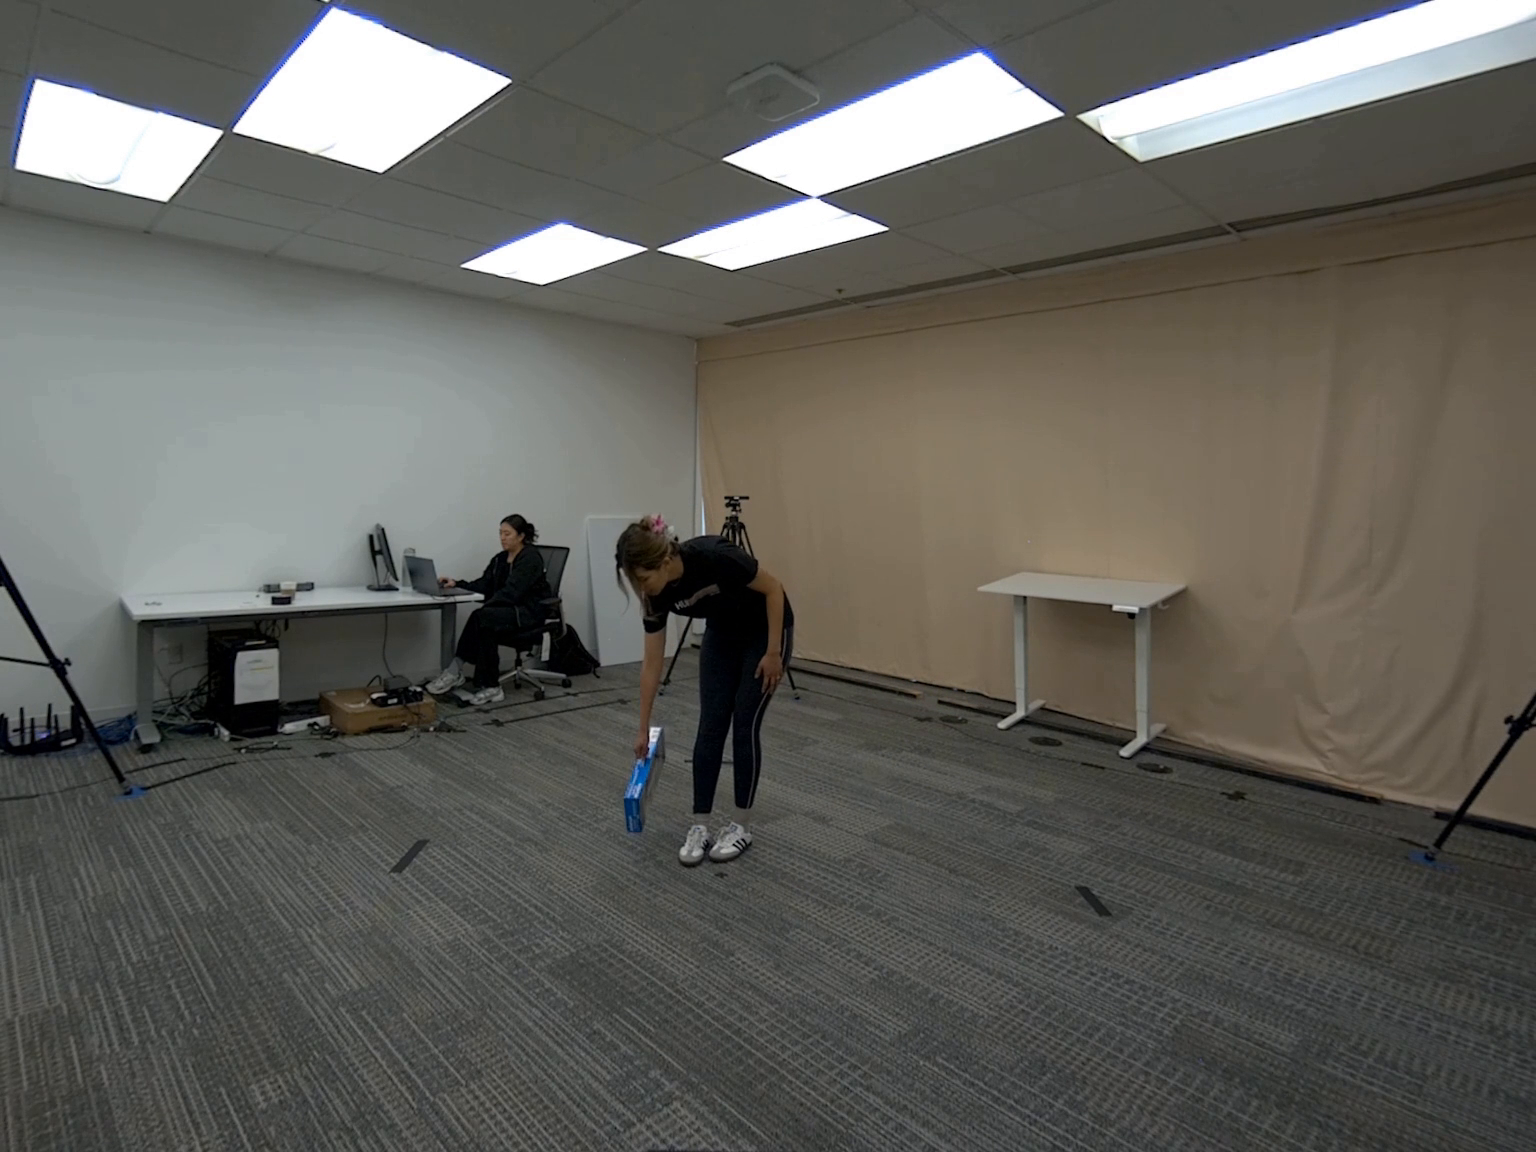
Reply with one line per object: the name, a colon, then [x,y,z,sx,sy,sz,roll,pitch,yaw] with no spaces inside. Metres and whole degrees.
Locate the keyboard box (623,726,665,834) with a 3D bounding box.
keyboard box: [-0.496,0.806,3.378,0.059,0.173,0.442,1,27,7]
